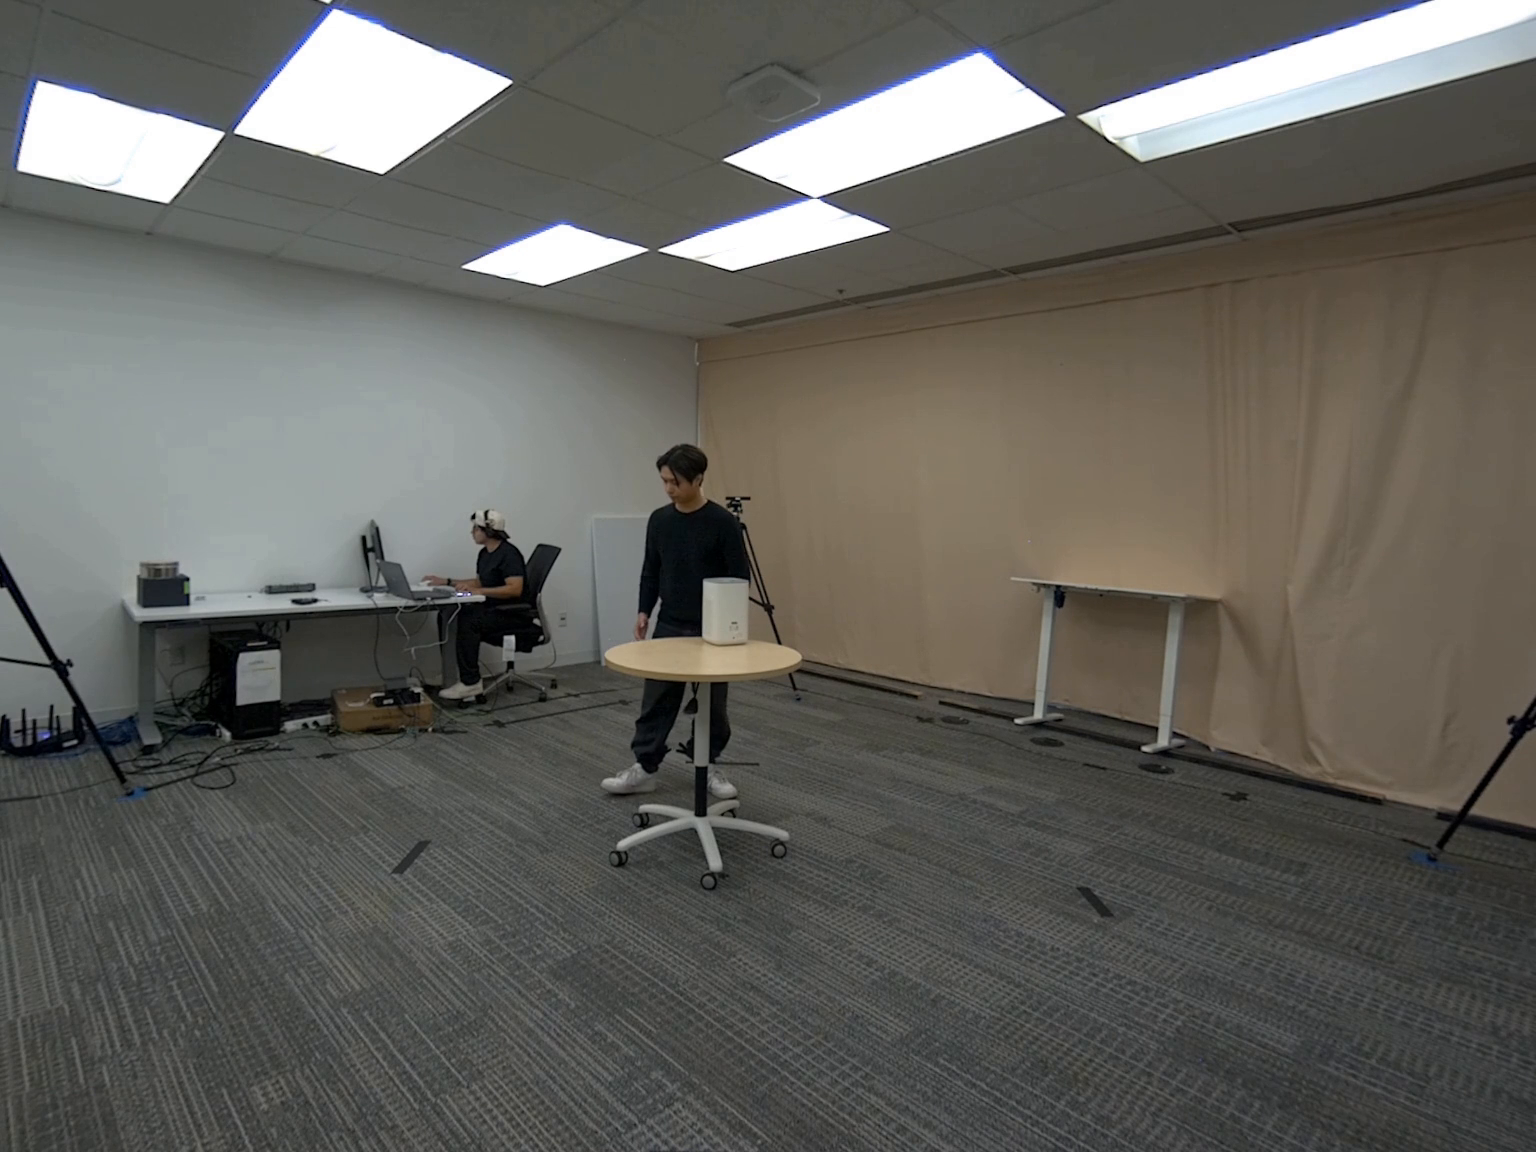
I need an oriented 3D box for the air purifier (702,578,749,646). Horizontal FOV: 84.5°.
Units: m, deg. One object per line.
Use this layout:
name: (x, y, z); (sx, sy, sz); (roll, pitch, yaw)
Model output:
air purifier: (-0.185, 0.148, 3.540); (0.168, 0.264, 0.175); (-1, 5, -27)
